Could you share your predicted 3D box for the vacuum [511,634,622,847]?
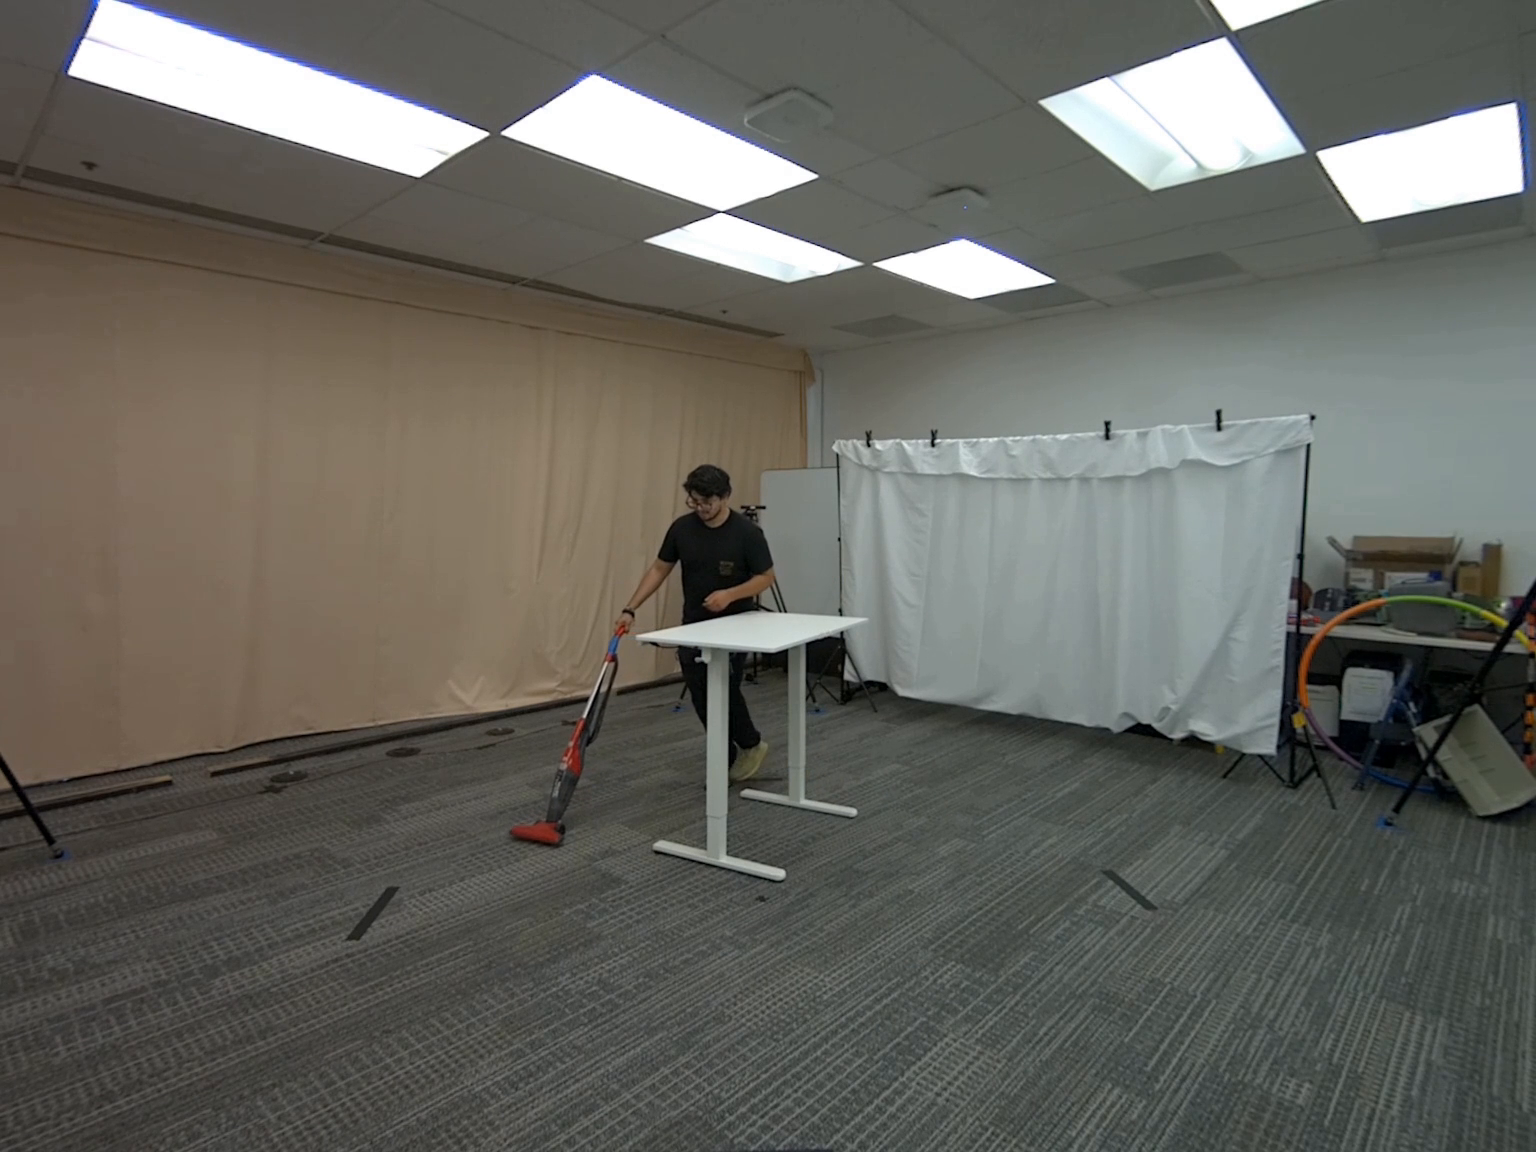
[{"bbox_3d":[-0.820,0.674,3.819,0.259,1.056,0.139,0,-36,25],"label":"vacuum"}]
